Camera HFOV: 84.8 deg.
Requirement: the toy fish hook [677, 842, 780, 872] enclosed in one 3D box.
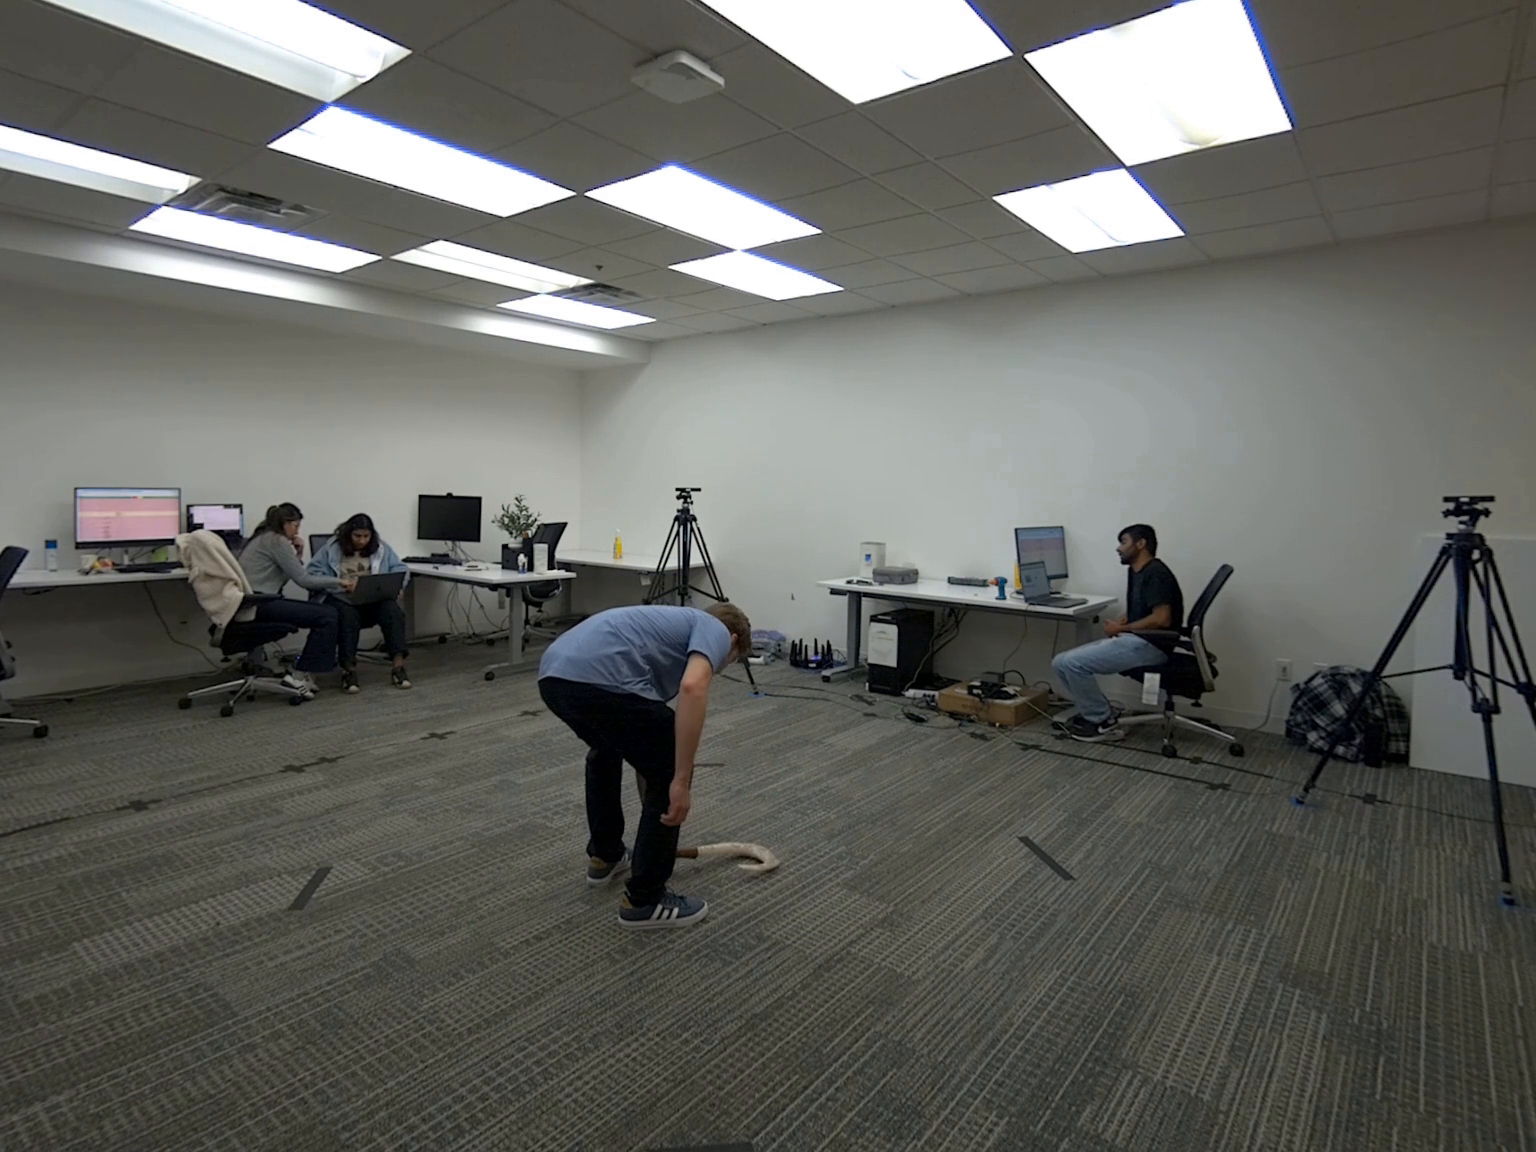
[{"bbox_3d":[-0.199,1.019,3.086,0.493,0.048,0.230,8,-2,-25],"label":"toy fish hook"}]
